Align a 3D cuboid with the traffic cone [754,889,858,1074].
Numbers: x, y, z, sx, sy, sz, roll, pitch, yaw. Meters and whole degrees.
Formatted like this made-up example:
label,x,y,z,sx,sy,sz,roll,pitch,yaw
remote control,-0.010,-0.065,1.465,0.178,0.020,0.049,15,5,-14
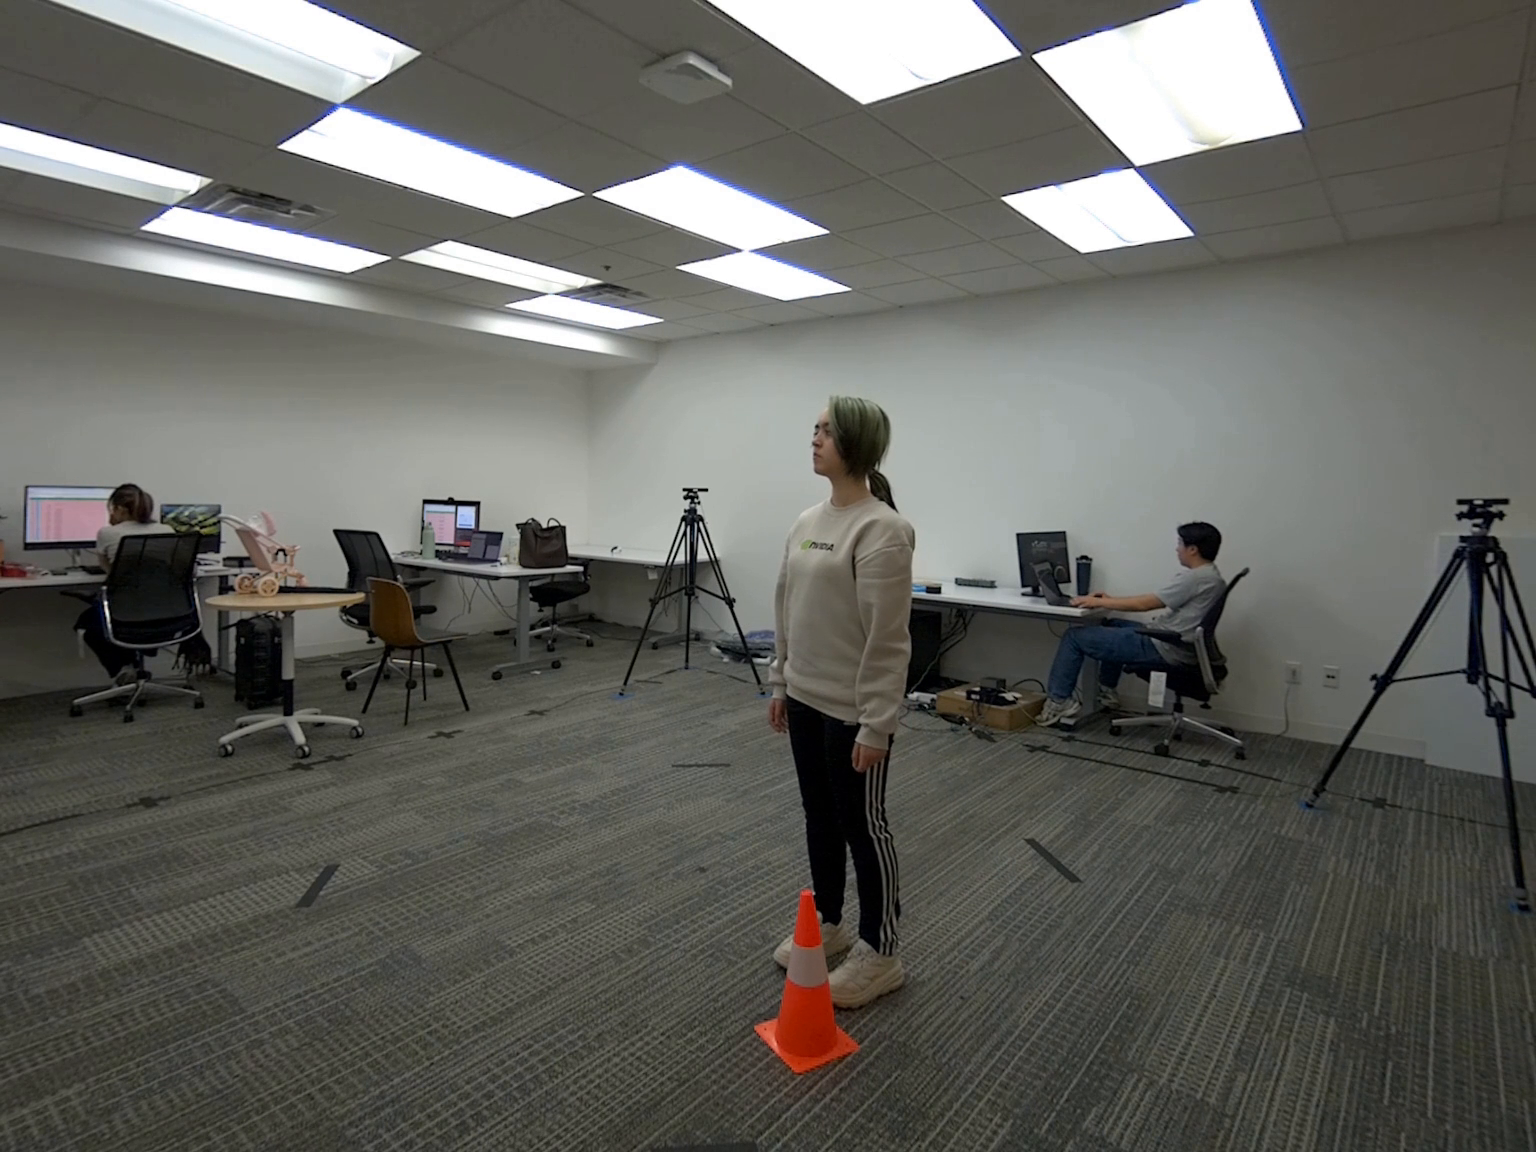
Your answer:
label,x,y,z,sx,sy,sz,roll,pitch,yaw
traffic cone,0.098,0.985,2.155,0.198,0.383,0.210,1,2,-25
